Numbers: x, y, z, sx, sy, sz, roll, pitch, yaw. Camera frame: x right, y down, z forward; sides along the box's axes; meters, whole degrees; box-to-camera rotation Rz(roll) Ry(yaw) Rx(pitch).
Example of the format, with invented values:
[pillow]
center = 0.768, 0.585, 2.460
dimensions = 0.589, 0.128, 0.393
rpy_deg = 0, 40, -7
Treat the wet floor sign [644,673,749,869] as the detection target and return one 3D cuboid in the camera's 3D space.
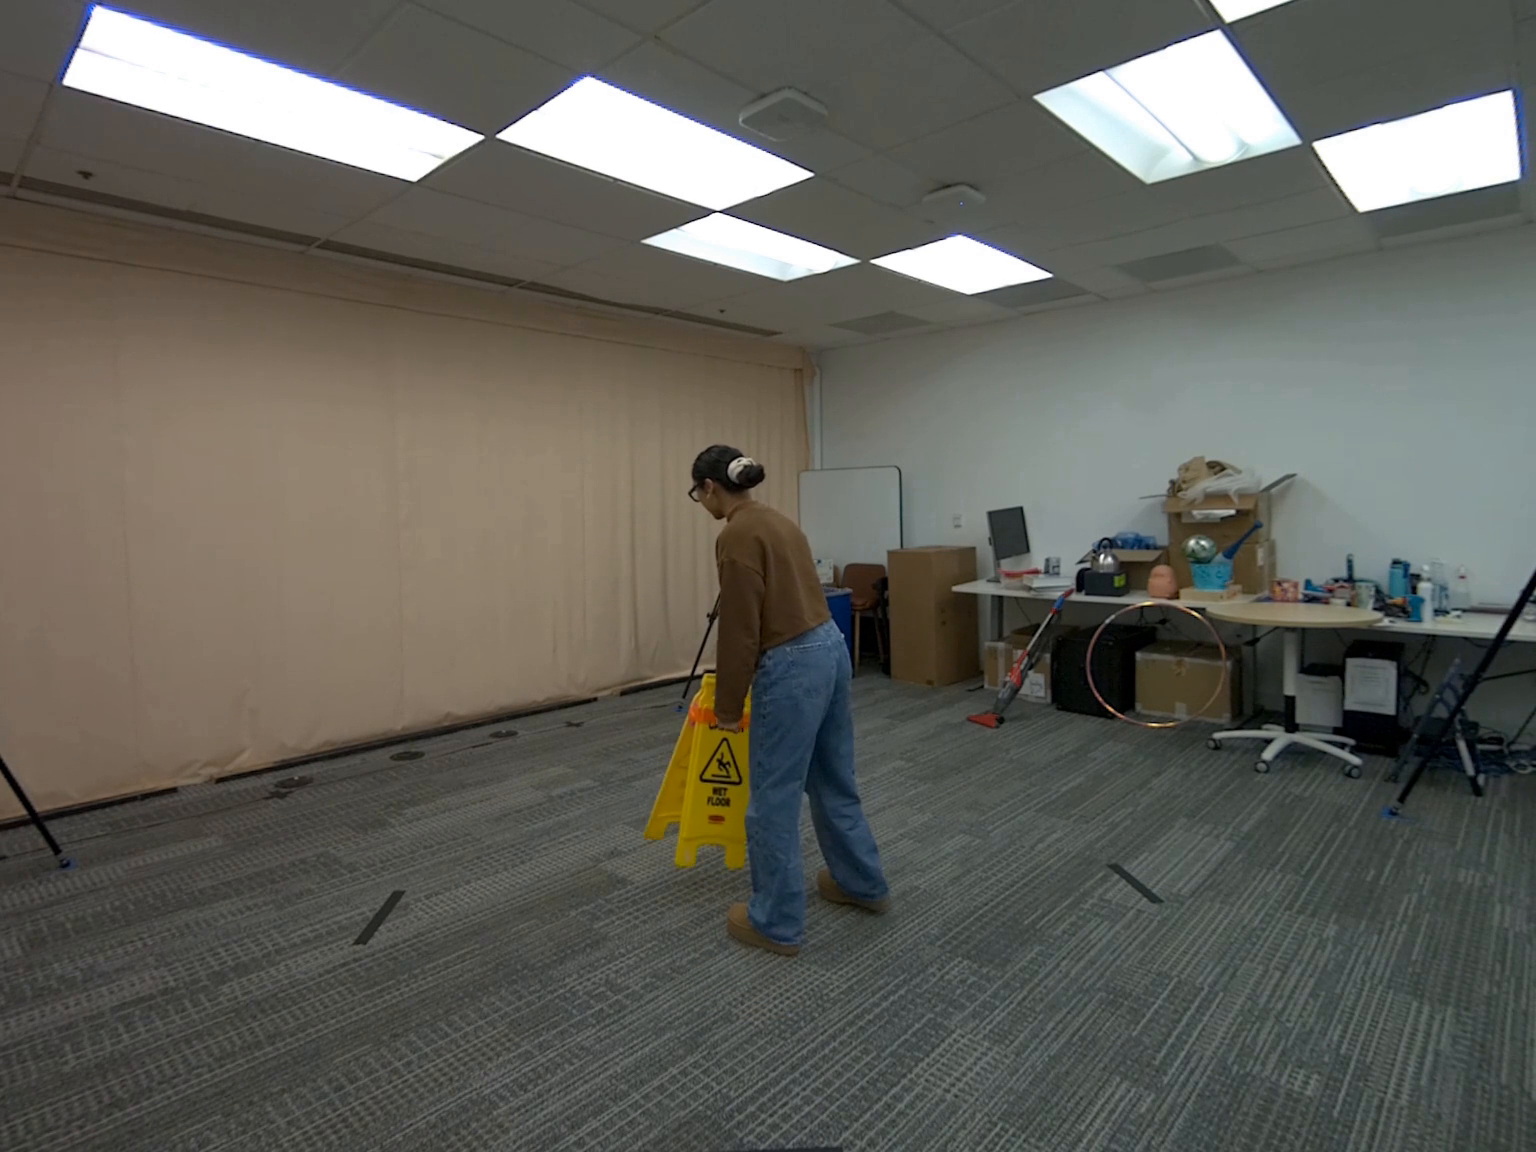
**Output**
[wet floor sign]
center = -0.207, 0.687, 3.060
dimensions = 0.273, 0.647, 0.298
rpy_deg = 14, -4, -32
